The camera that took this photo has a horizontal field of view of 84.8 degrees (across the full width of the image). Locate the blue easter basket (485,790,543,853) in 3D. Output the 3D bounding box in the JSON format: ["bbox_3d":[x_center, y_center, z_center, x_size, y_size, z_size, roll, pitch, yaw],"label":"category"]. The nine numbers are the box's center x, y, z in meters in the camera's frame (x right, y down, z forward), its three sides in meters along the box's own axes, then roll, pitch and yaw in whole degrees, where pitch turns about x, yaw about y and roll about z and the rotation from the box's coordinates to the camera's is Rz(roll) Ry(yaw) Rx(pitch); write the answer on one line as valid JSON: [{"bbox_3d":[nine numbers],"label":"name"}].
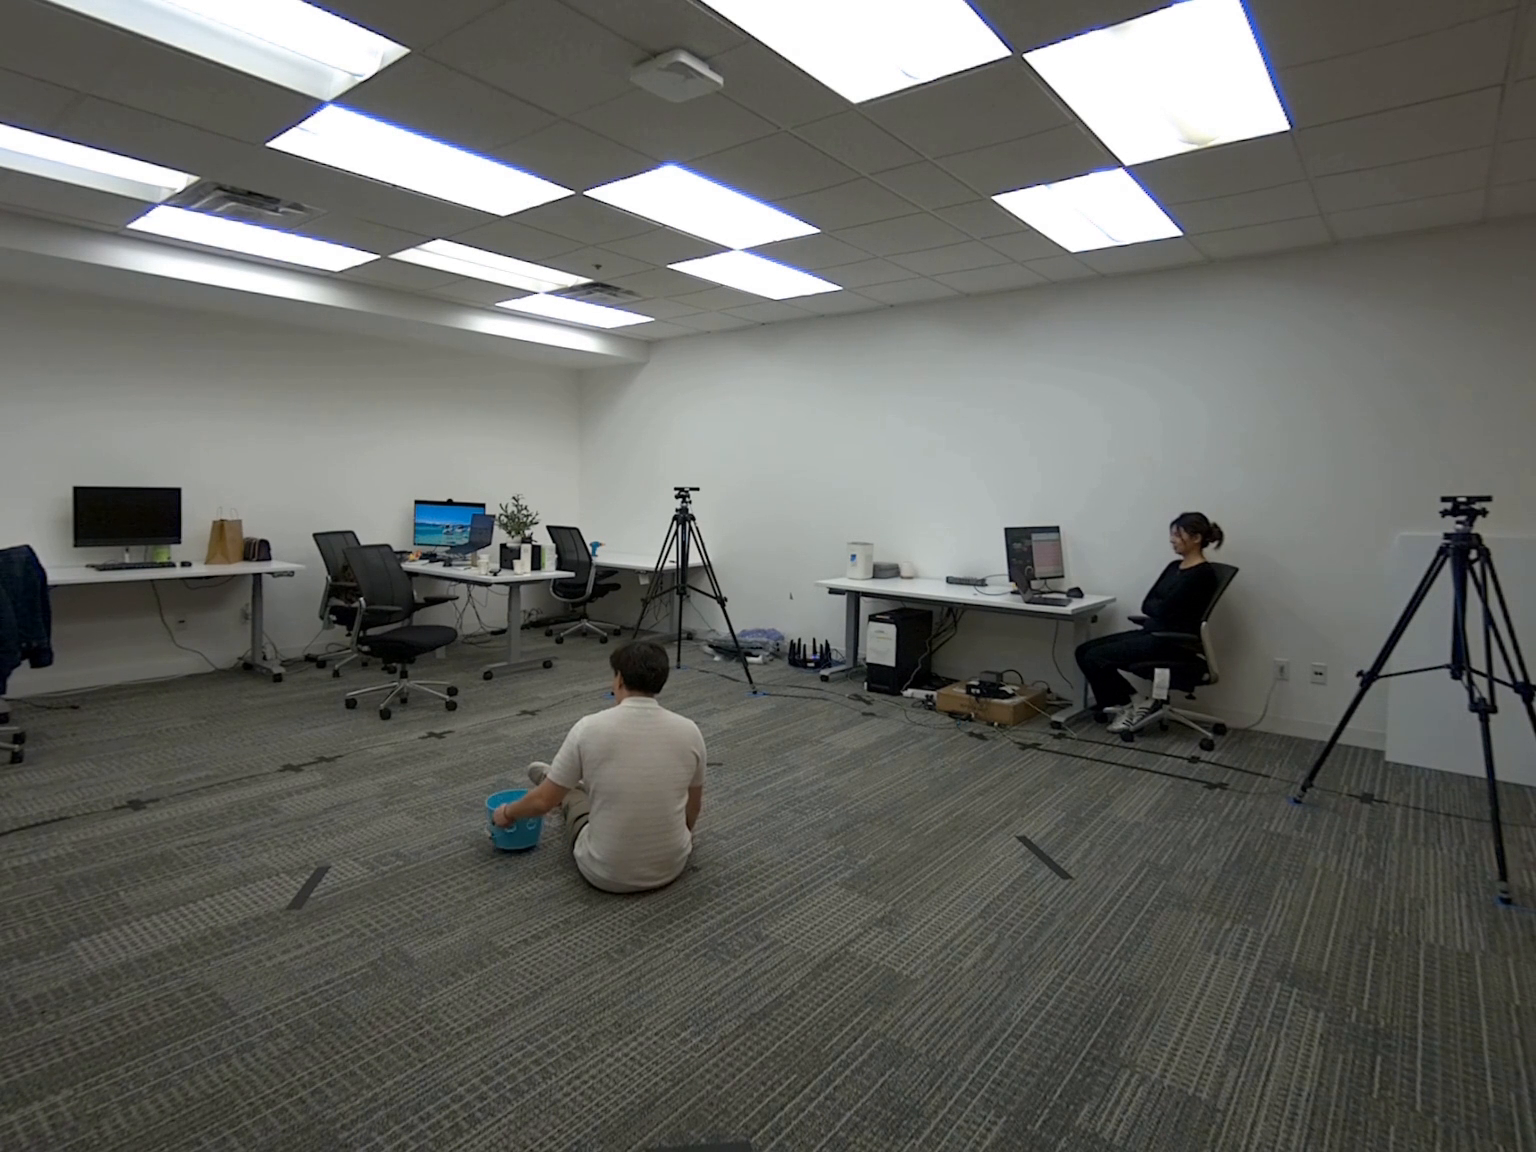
[{"bbox_3d":[-0.987,0.927,3.273,0.243,0.155,0.245,3,5,-2],"label":"blue easter basket"}]
